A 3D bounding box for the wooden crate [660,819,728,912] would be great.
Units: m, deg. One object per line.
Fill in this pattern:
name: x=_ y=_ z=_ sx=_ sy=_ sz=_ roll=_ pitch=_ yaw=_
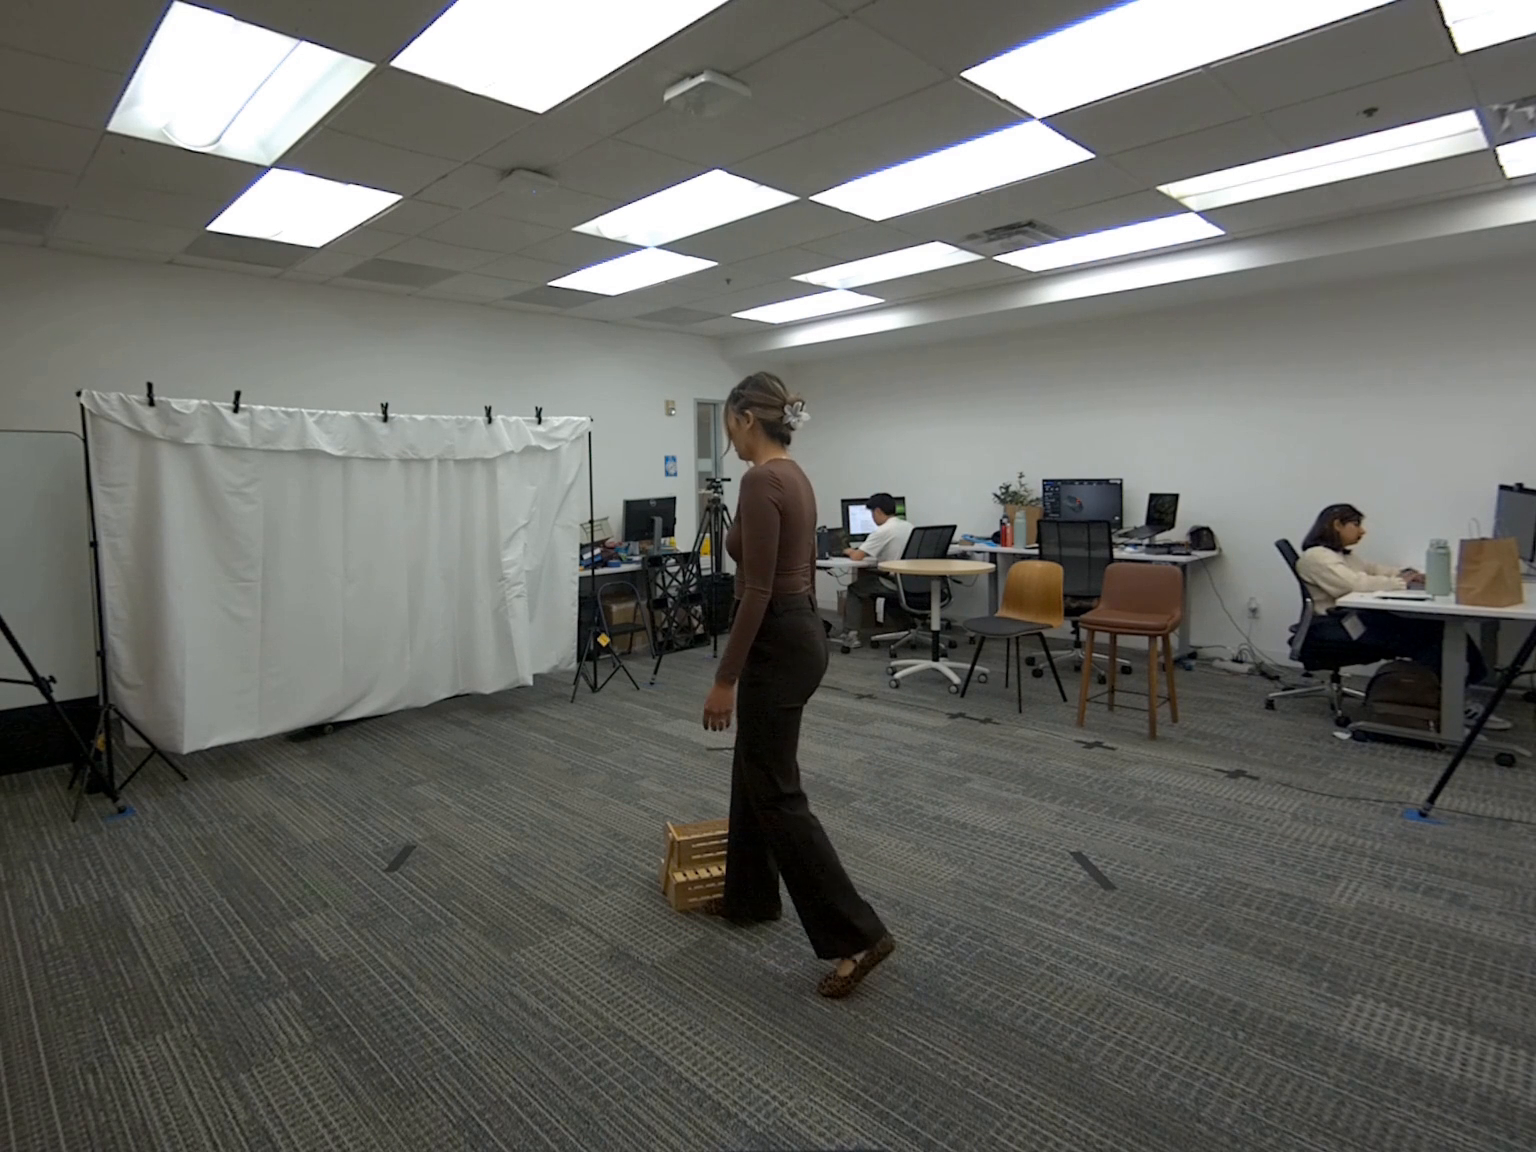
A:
wooden crate: x=-0.197 y=0.934 z=2.897 sx=0.319 sy=0.272 sz=0.309 roll=-3 pitch=7 yaw=-19
